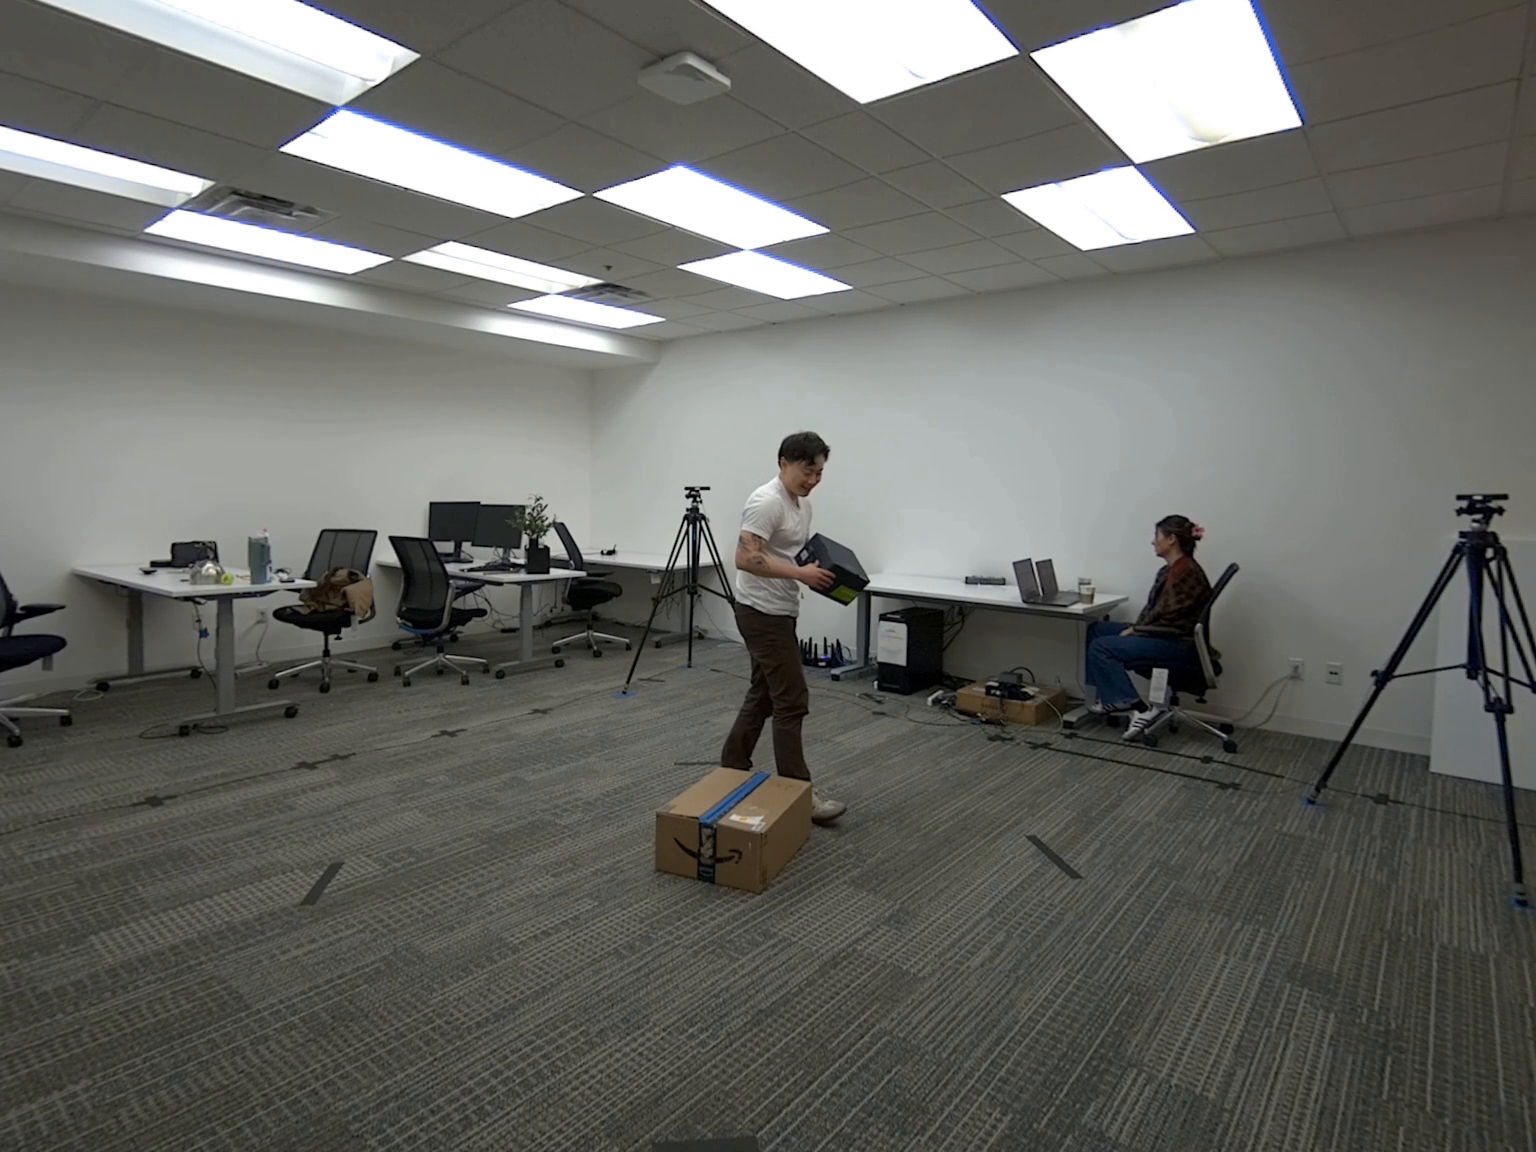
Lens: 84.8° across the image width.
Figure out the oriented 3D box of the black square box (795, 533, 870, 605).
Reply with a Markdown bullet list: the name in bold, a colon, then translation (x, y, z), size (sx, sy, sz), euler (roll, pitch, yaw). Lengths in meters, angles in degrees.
- **black square box**: translation (0.272, -0.033, 3.624), size (0.219, 0.156, 0.225), euler (25, 26, -34)
